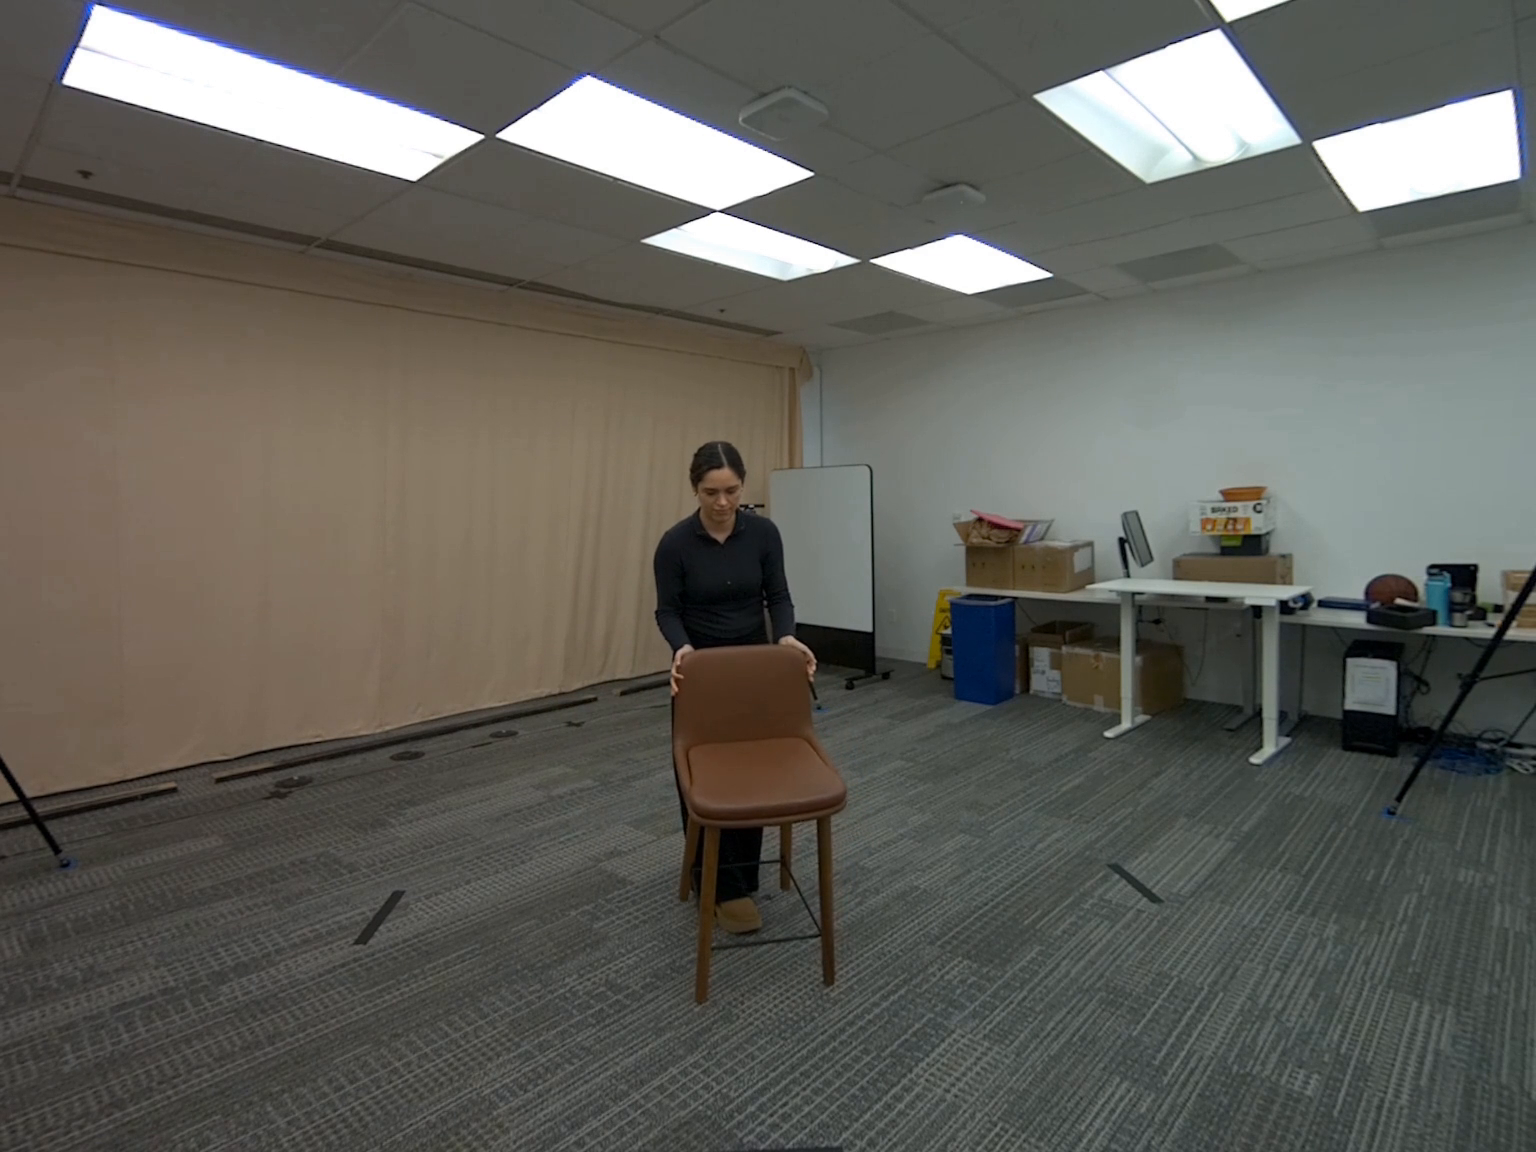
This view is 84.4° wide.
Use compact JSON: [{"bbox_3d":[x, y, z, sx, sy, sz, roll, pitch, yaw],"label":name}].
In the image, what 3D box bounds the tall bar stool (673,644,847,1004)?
[{"bbox_3d":[-0.039,0.704,2.494,0.450,0.882,0.478,-2,14,-14],"label":"tall bar stool"}]
